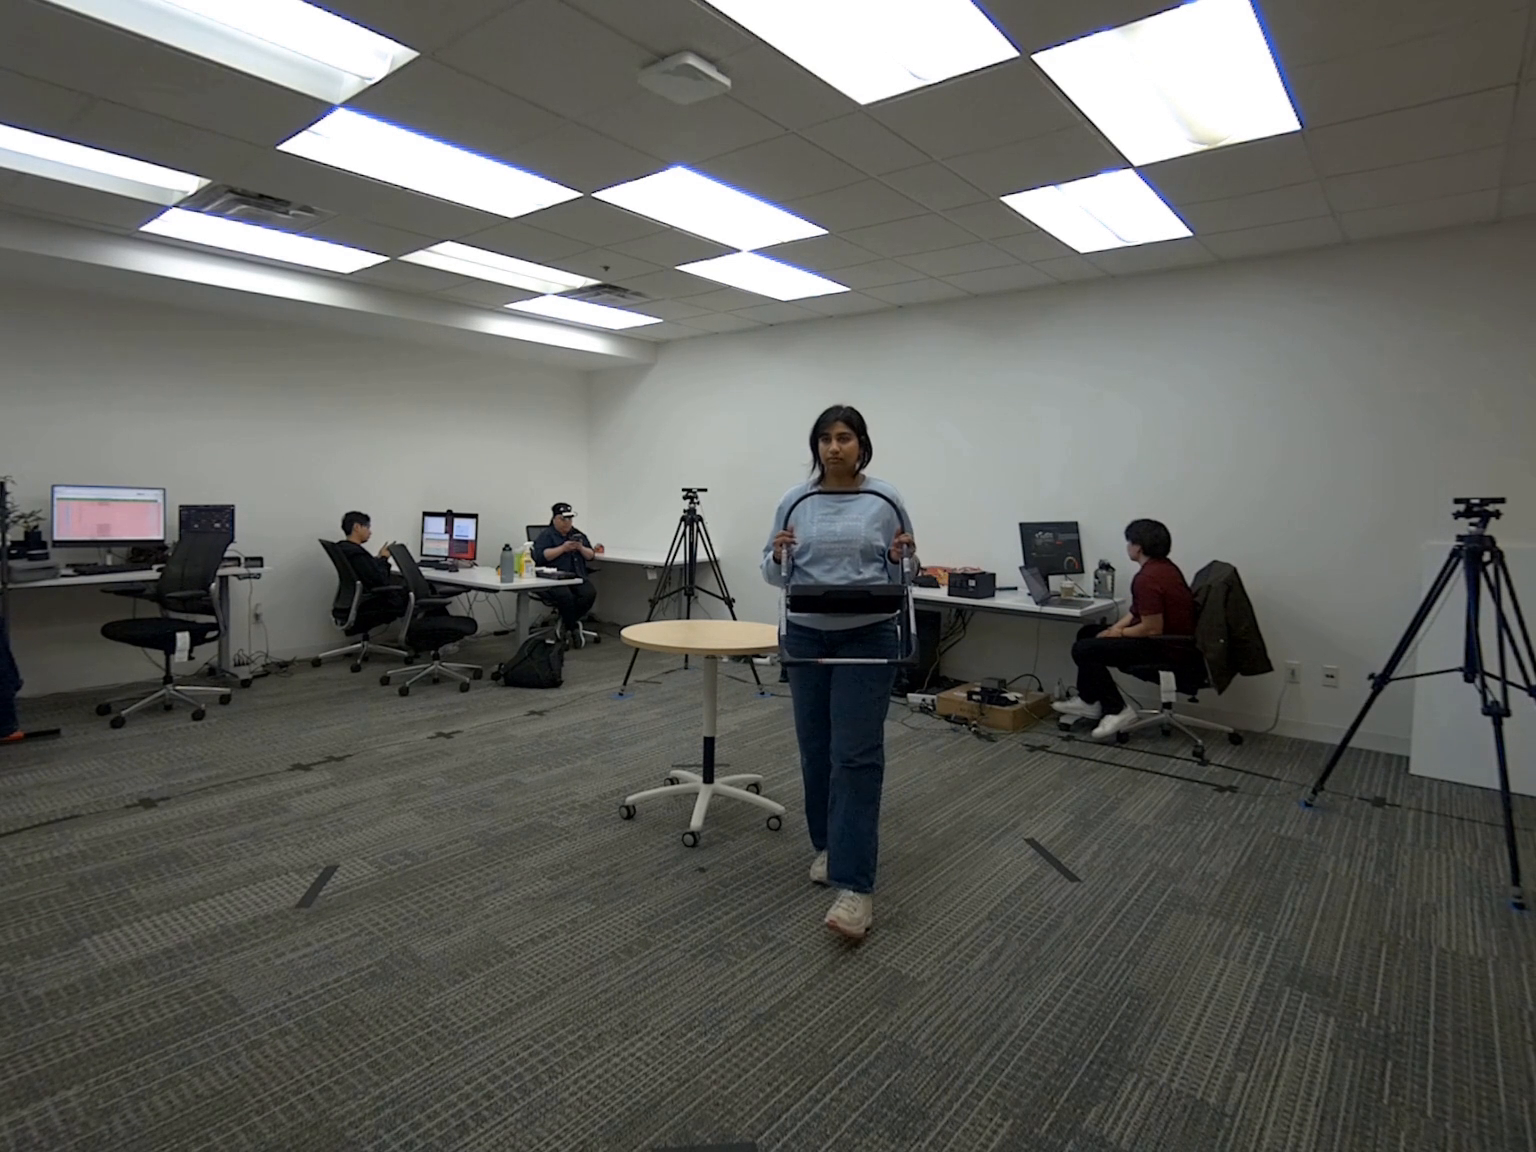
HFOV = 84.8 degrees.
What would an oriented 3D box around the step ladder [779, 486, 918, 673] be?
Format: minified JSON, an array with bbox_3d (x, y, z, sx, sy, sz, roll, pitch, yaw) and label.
[{"bbox_3d":[0.246,0.017,2.785,0.432,0.615,0.342,0,-16,3],"label":"step ladder"}]
